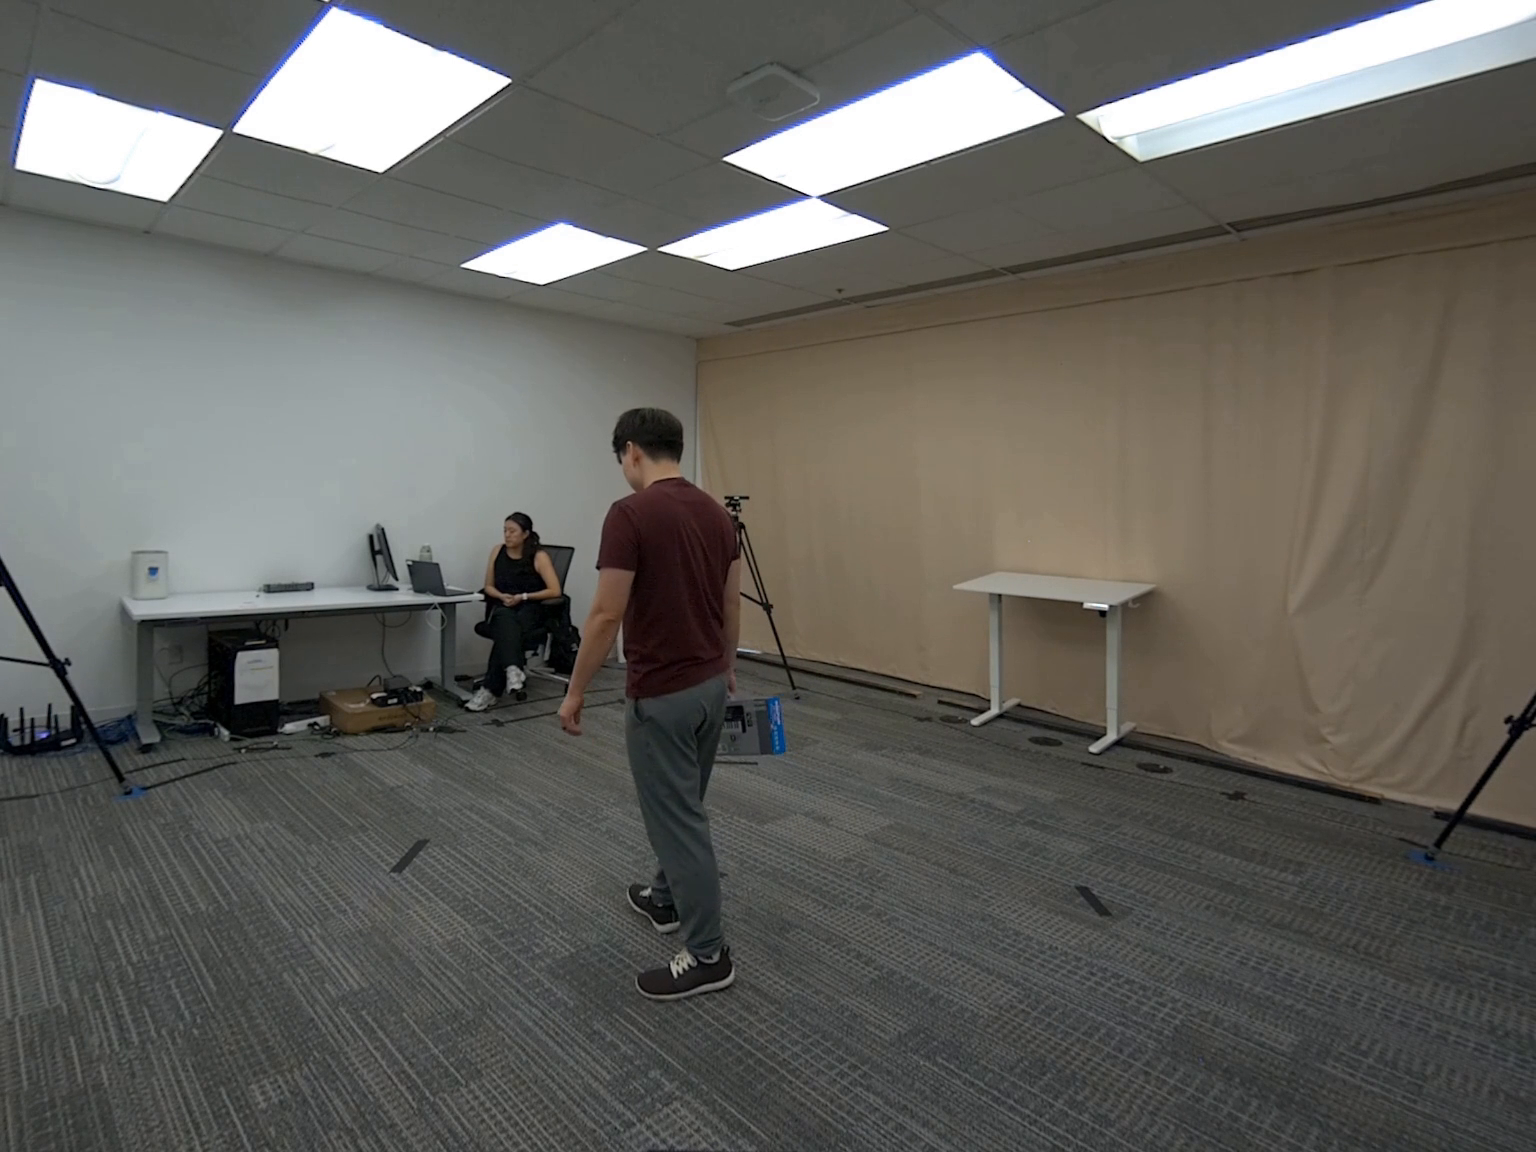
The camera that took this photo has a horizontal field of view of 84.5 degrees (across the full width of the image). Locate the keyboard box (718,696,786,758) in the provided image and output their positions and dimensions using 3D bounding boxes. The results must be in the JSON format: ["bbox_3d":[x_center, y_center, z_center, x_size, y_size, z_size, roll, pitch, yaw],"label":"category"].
[{"bbox_3d":[-0.149,0.492,2.740,0.445,0.177,0.058,-11,-8,41],"label":"keyboard box"}]
